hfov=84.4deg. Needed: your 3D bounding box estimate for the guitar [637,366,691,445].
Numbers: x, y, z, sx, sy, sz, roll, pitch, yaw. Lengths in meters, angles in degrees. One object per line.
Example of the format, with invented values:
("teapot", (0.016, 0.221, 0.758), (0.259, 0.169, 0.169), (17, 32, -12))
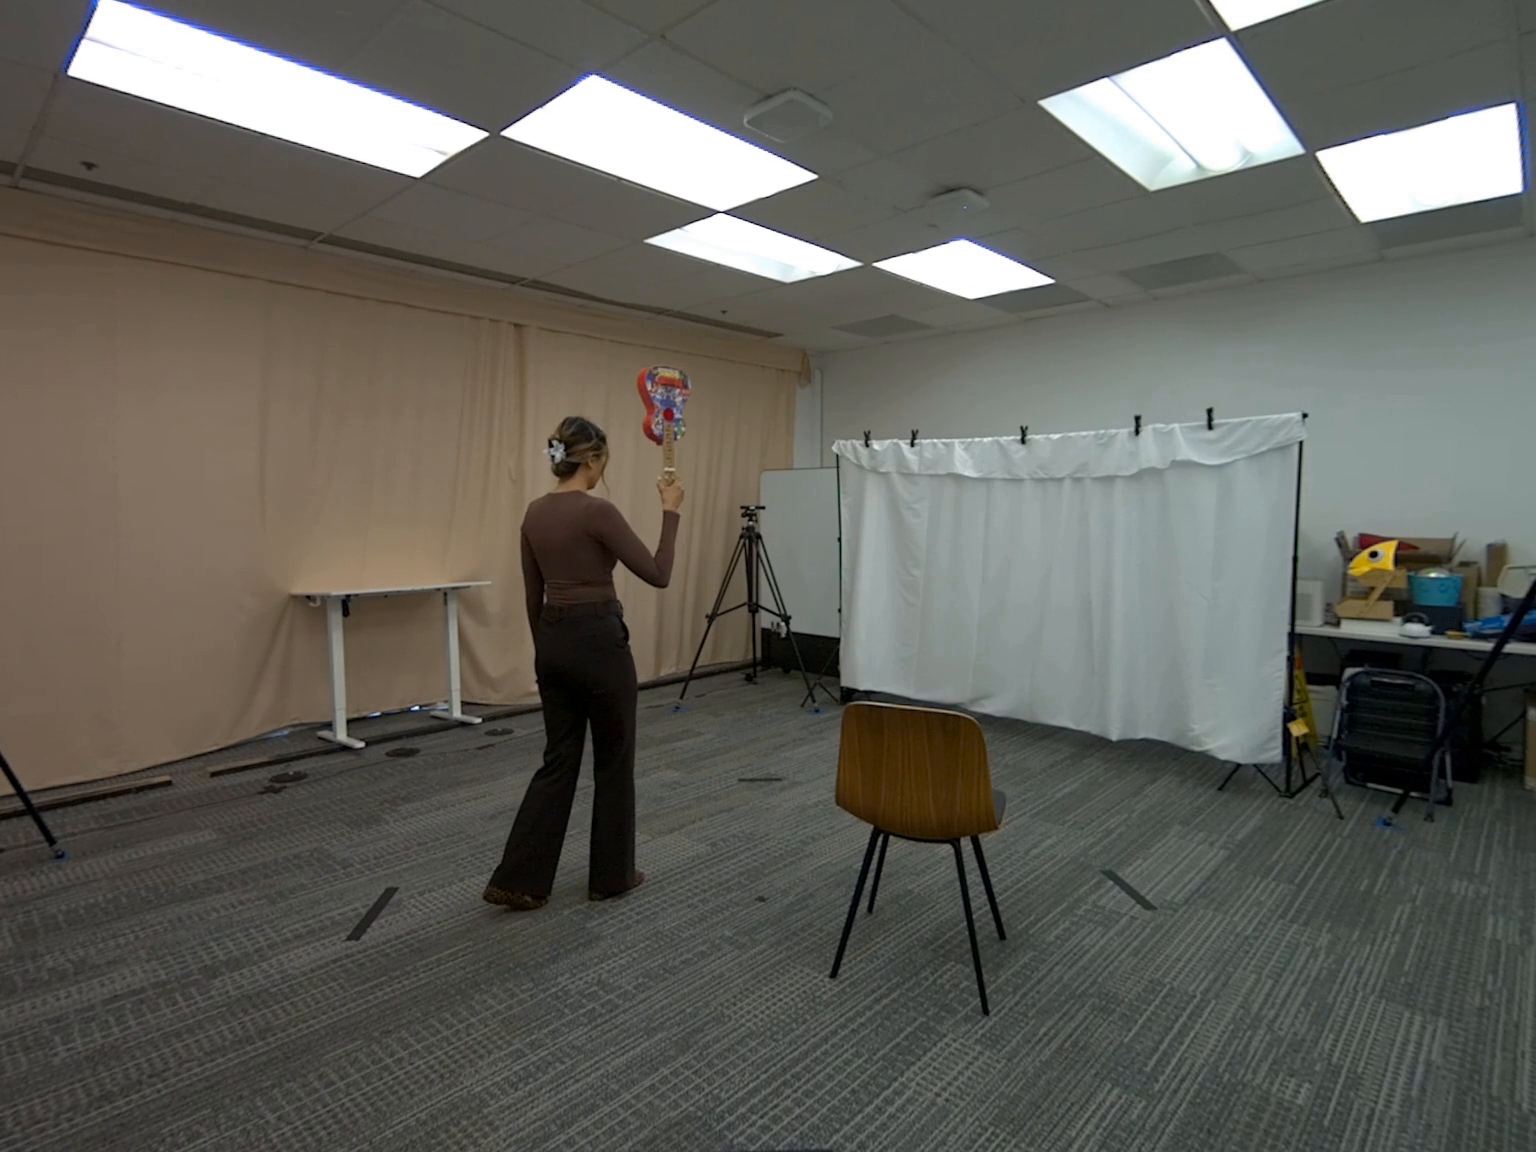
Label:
("guitar", (-0.389, -0.498, 2.978), (0.187, 0.499, 0.073), (12, -8, -34))
